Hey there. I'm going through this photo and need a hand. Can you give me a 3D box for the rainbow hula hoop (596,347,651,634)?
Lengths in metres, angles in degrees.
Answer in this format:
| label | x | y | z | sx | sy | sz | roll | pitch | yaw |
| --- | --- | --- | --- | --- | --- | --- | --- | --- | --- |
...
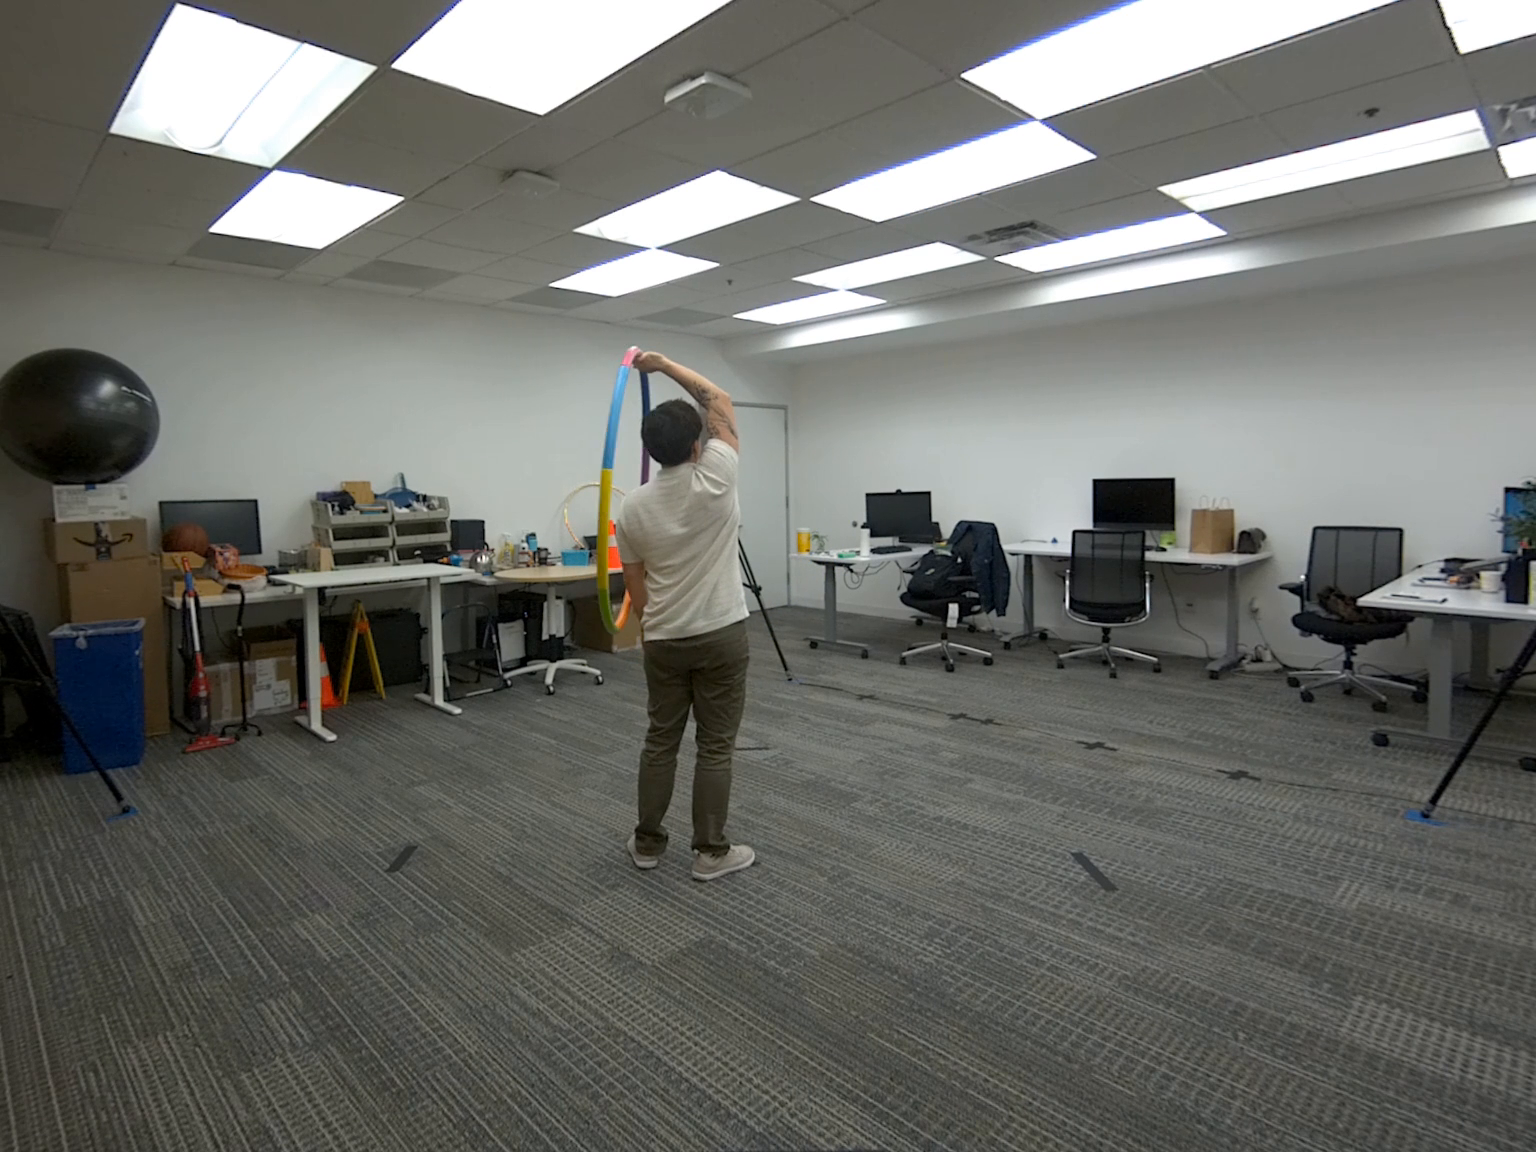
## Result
| label | x | y | z | sx | sy | sz | roll | pitch | yaw |
| --- | --- | --- | --- | --- | --- | --- | --- | --- | --- |
| rainbow hula hoop | -0.504 | -0.293 | 2.989 | 0.035 | 0.975 | 0.983 | 6 | 5 | -3 |
